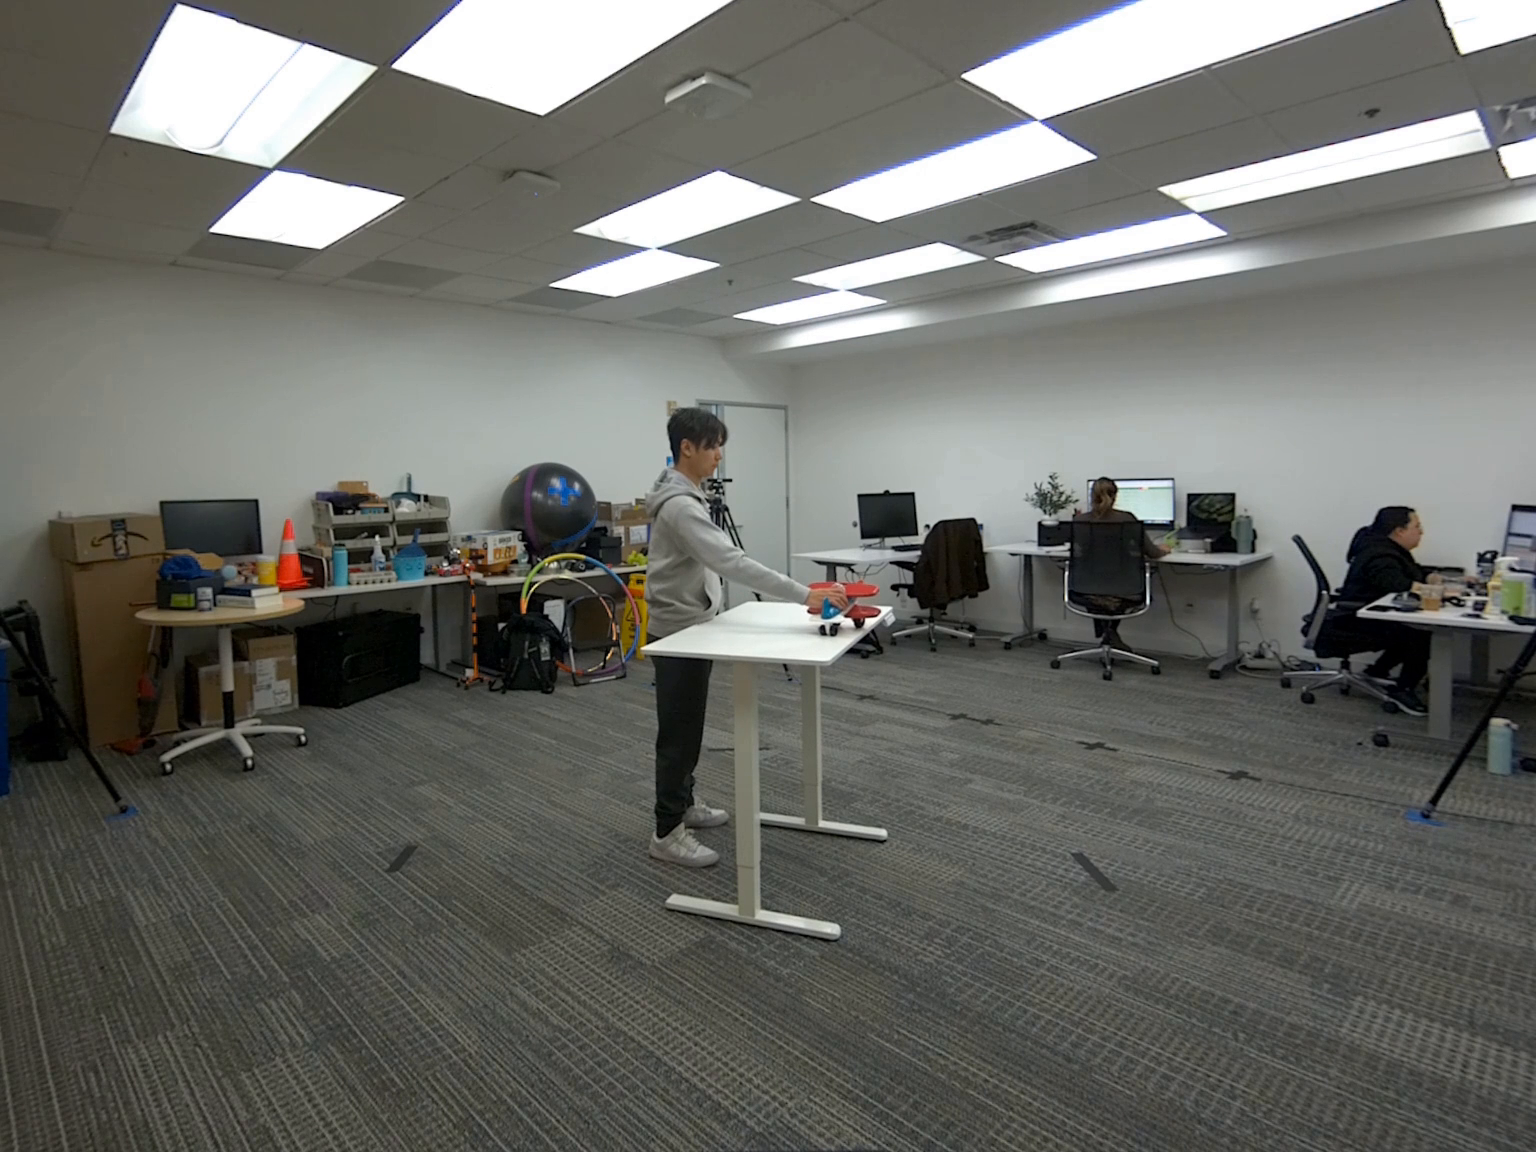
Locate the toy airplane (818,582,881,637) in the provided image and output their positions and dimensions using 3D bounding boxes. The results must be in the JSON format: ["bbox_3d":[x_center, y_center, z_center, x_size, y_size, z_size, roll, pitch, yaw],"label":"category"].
[{"bbox_3d":[0.260,0.109,2.861,0.251,0.156,0.260,-3,5,-1],"label":"toy airplane"}]
